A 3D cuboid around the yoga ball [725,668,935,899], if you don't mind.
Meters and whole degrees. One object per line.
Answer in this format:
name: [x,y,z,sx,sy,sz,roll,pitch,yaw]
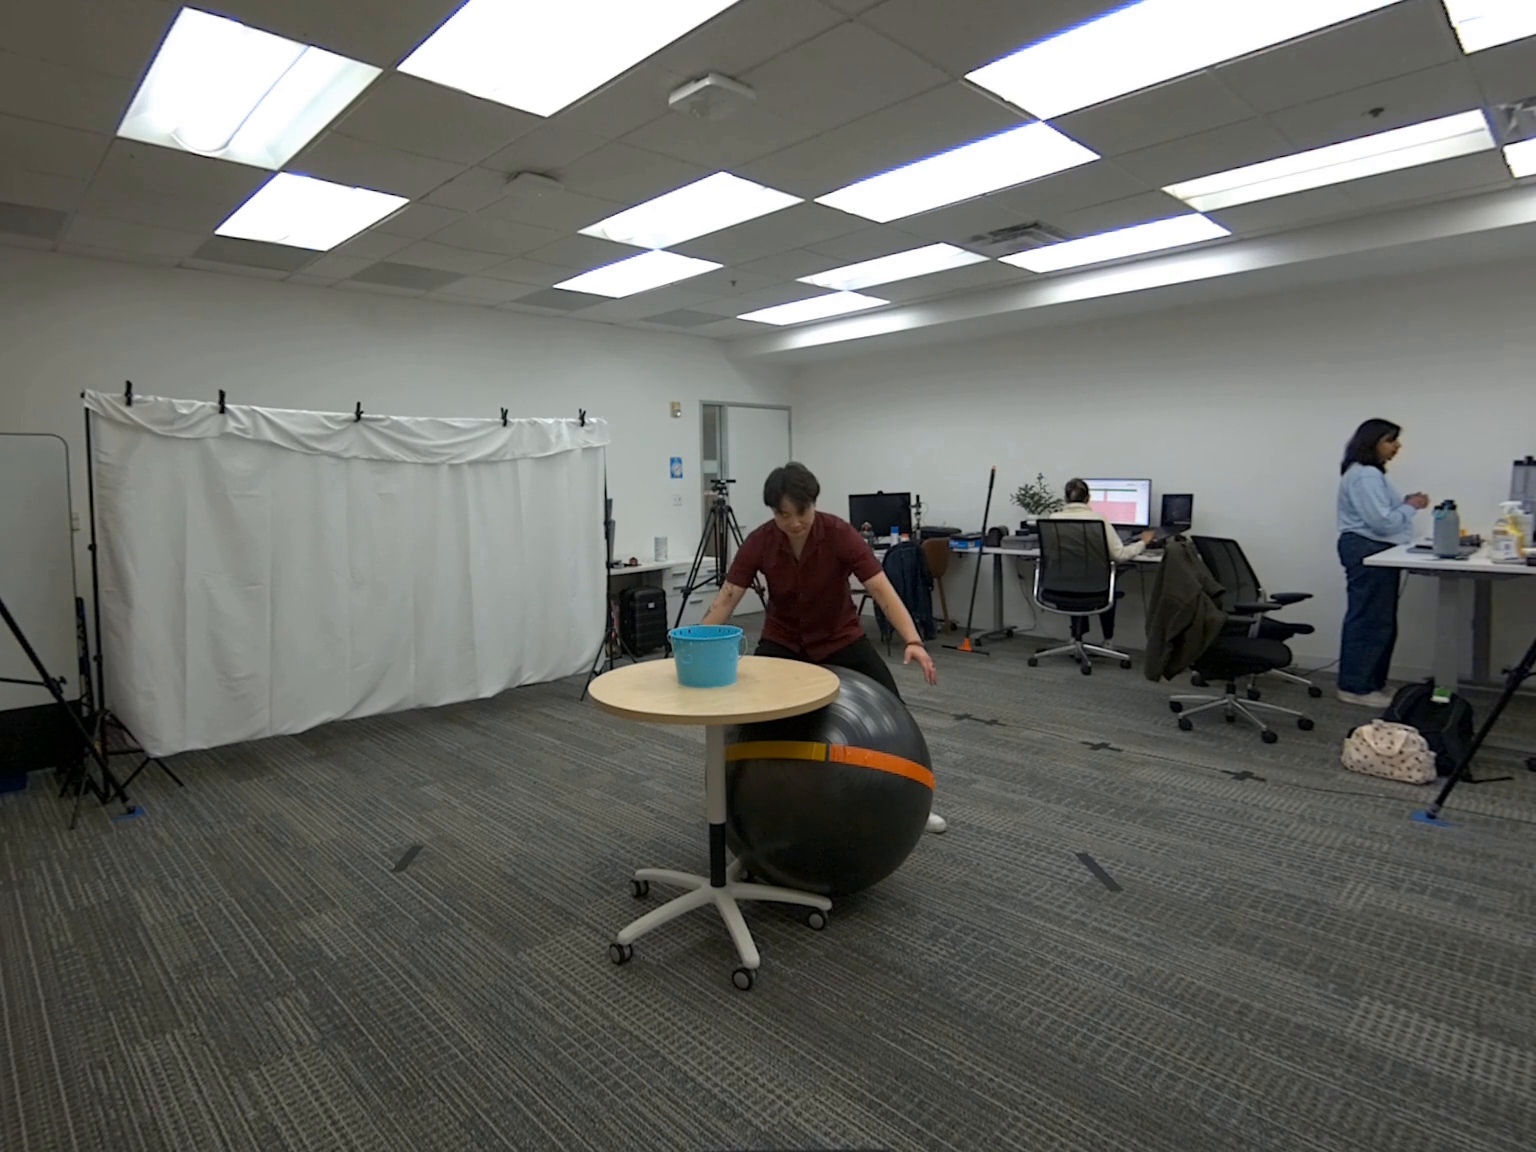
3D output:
yoga ball: [0.173,0.691,2.892,0.757,0.755,0.762,-1,5,-2]
